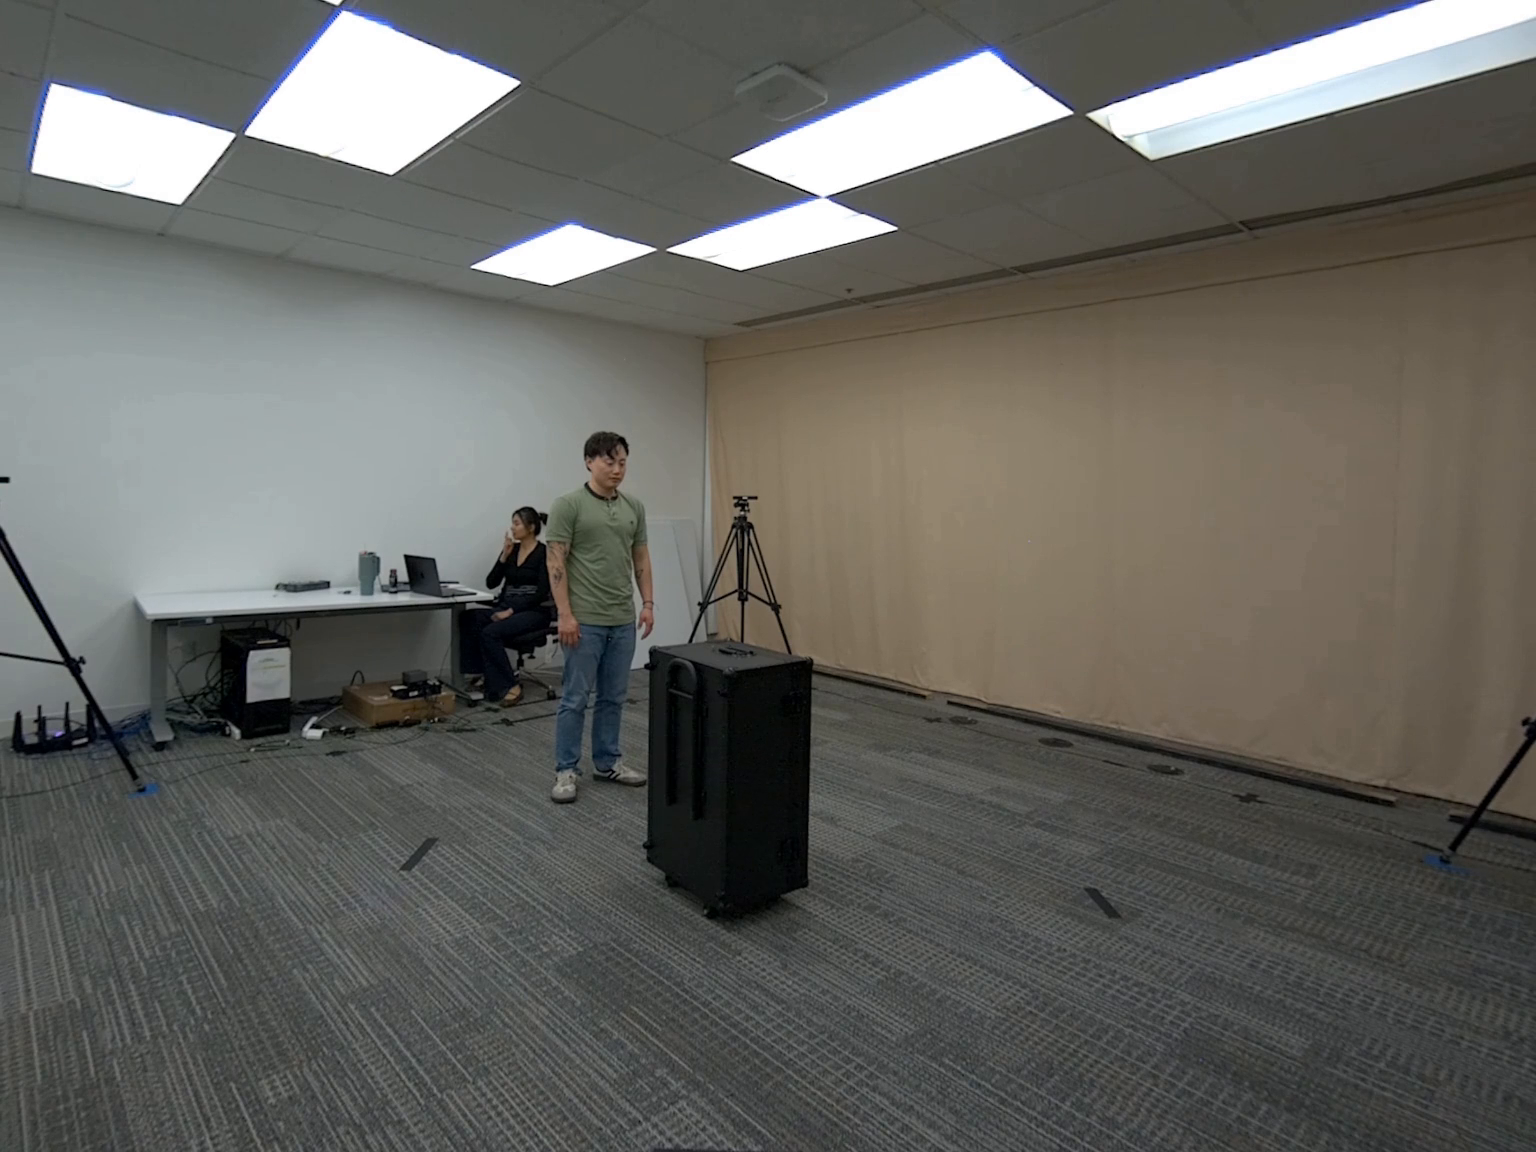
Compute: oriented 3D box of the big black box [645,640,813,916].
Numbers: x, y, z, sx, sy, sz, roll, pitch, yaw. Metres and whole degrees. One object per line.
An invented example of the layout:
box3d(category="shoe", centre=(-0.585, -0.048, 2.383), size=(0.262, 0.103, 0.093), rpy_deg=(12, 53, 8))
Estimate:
box3d(category="big black box", centre=(-0.156, 0.693, 2.922), size=(0.387, 0.859, 0.534), rpy_deg=(-2, 5, -38))
